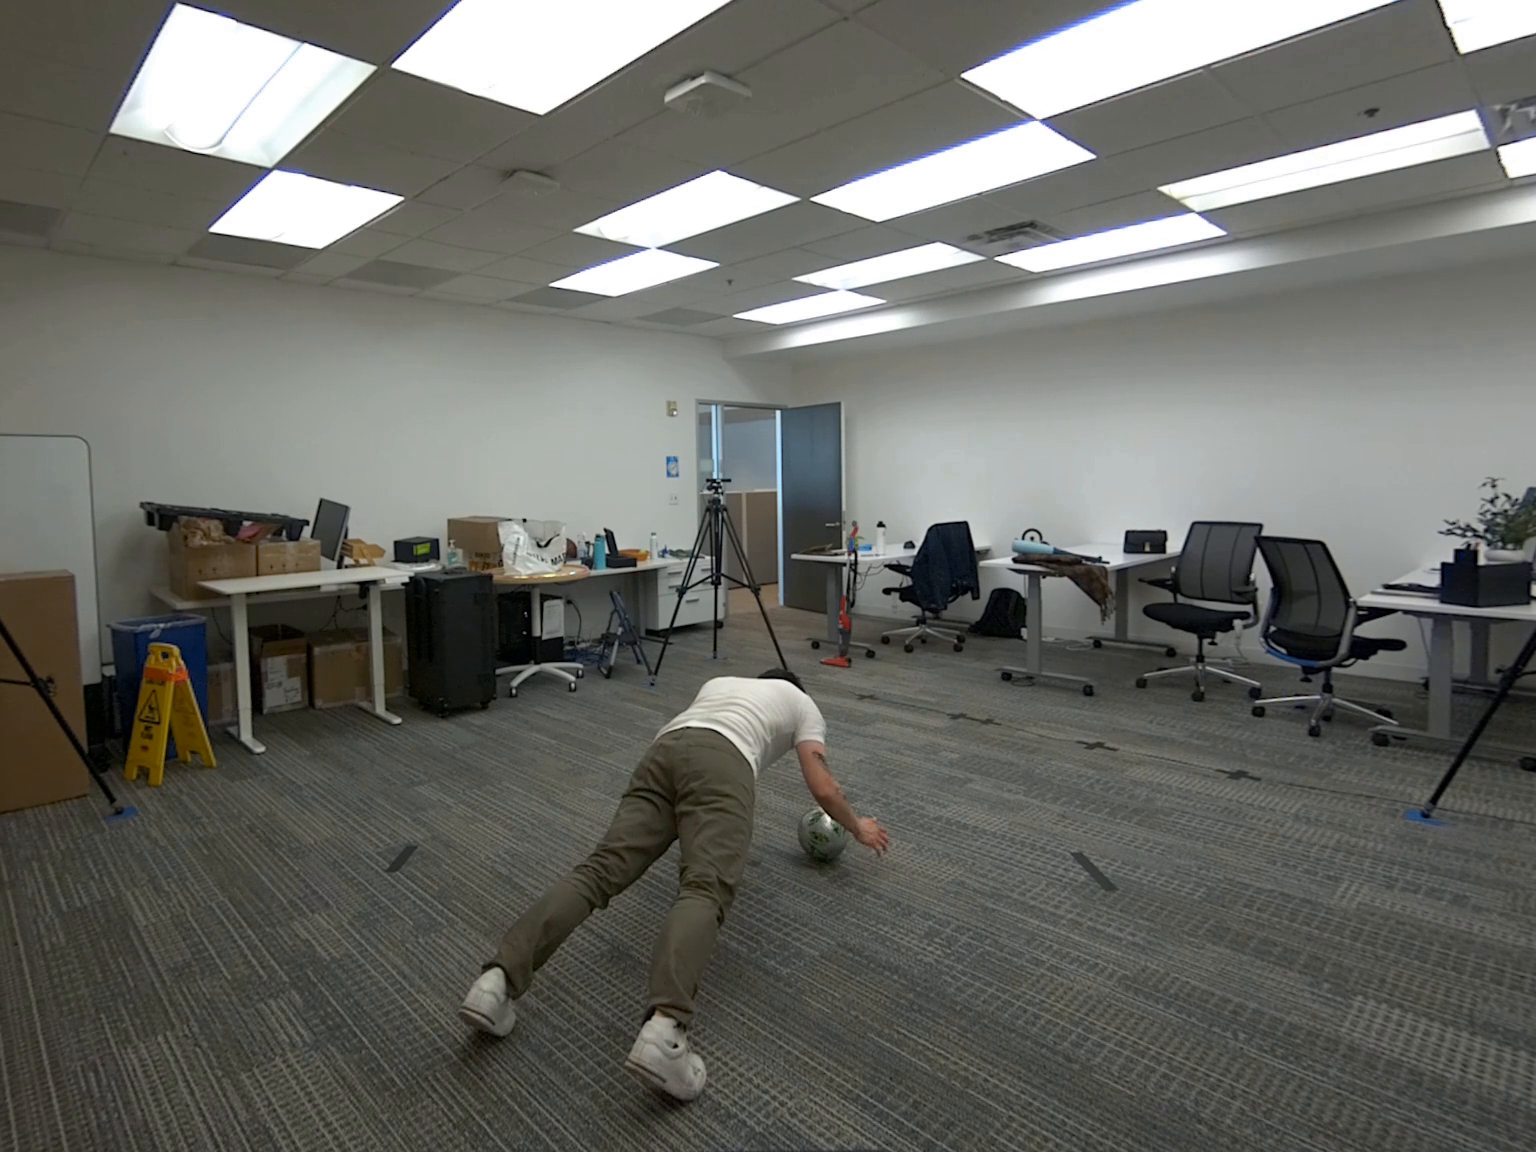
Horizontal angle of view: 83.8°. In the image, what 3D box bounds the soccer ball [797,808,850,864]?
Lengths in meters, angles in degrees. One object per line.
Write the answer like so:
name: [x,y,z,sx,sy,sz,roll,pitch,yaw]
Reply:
soccer ball: [0.198,0.934,3.124,0.187,0.187,0.188,-1,5,-2]
